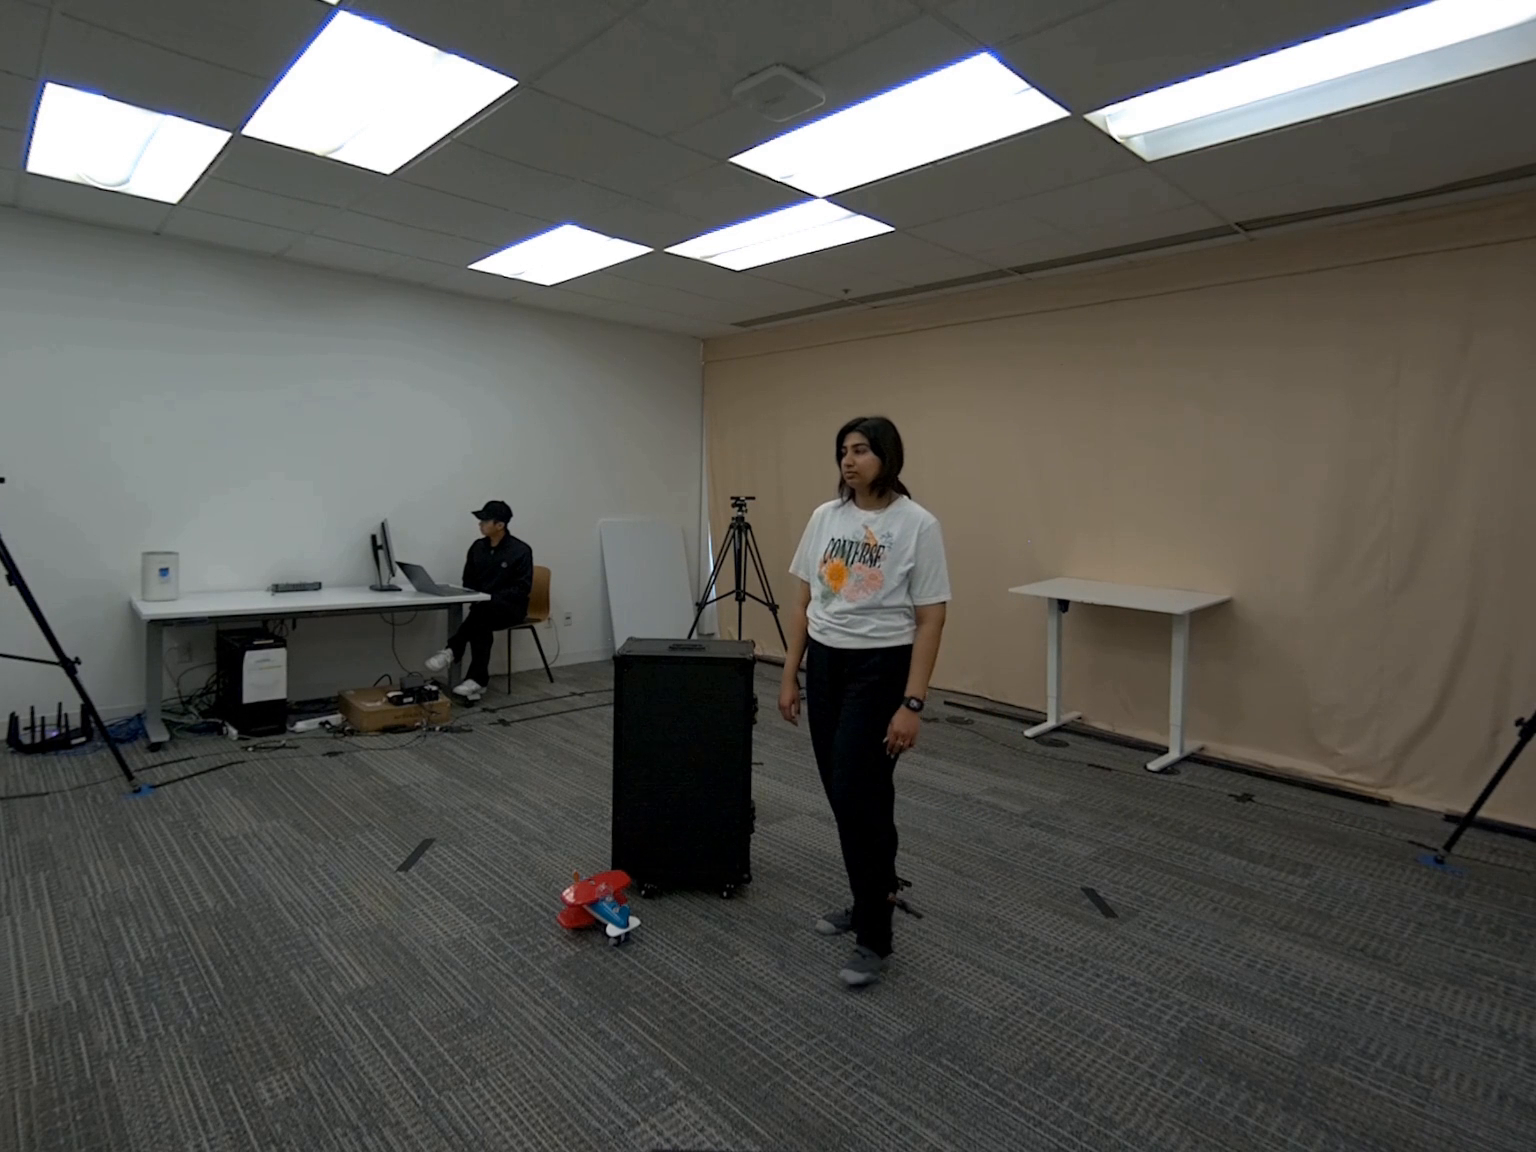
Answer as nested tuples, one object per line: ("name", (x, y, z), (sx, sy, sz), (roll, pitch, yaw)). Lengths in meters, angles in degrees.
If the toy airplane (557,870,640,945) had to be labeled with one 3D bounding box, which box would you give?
("toy airplane", (-0.525, 1.059, 2.693), (0.262, 0.156, 0.249), (0, 6, 15))
